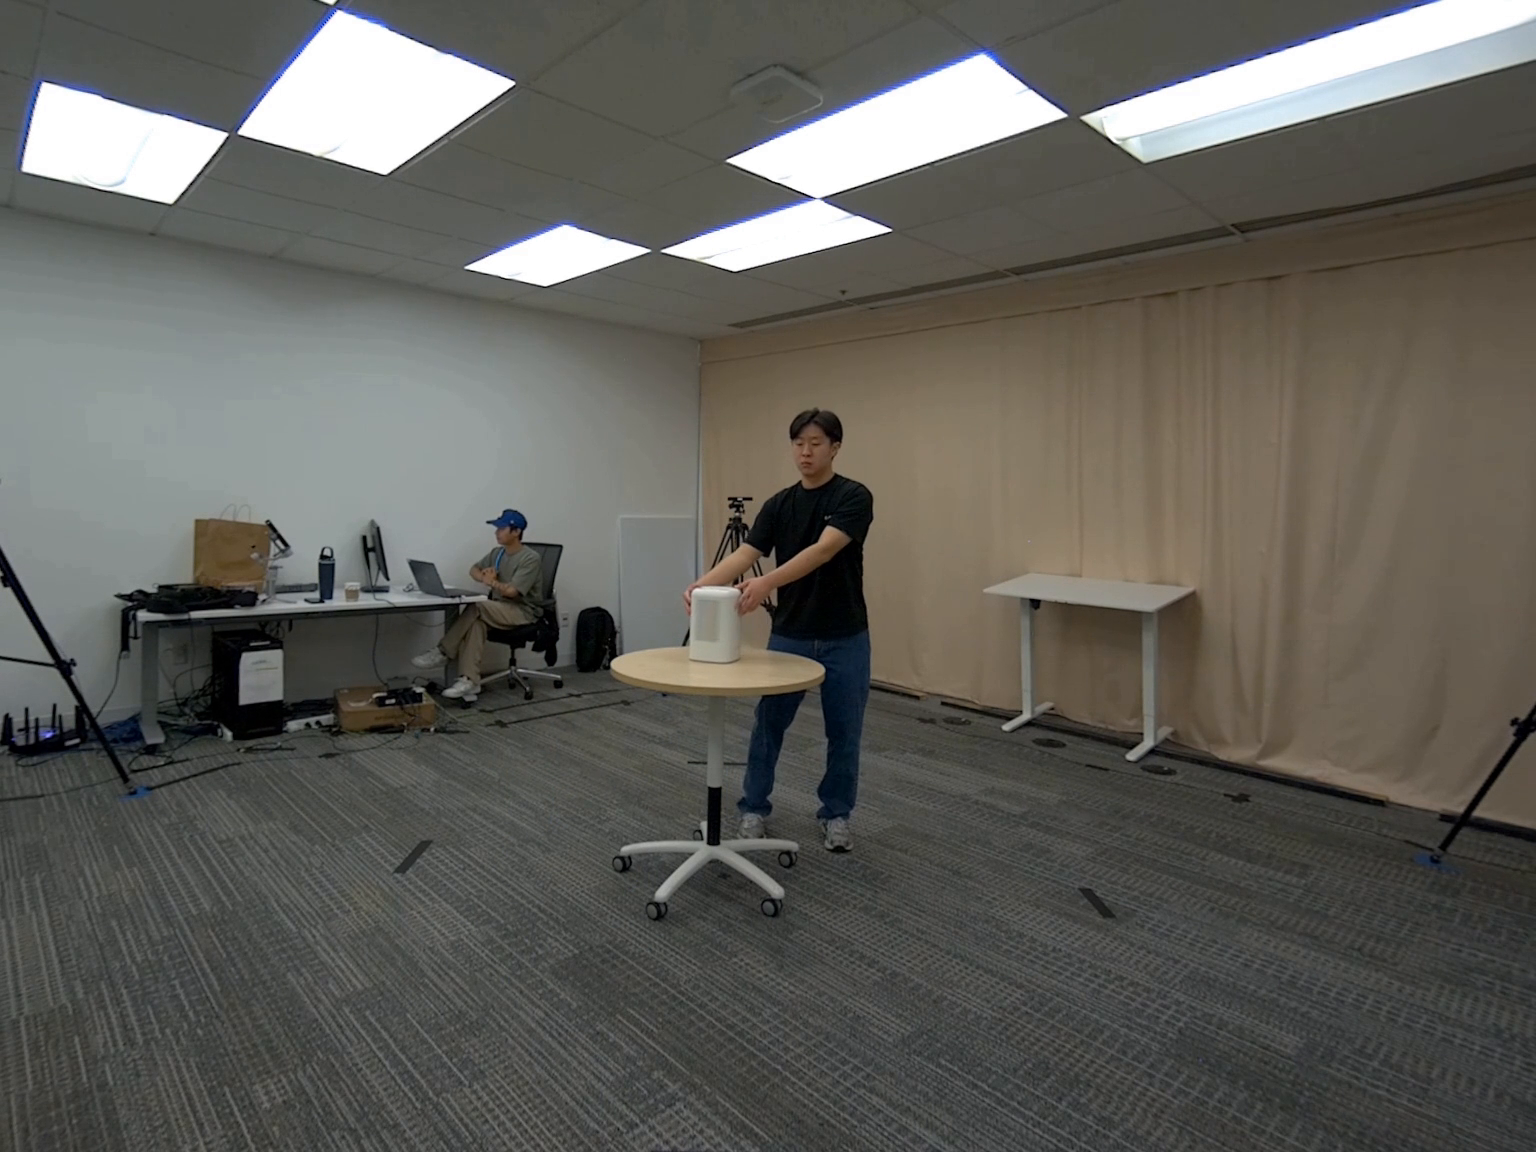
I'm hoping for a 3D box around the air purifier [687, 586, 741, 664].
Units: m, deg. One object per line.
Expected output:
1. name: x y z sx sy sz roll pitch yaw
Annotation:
1. air purifier: -0.199 0.176 3.118 0.174 0.265 0.168 1 2 21
